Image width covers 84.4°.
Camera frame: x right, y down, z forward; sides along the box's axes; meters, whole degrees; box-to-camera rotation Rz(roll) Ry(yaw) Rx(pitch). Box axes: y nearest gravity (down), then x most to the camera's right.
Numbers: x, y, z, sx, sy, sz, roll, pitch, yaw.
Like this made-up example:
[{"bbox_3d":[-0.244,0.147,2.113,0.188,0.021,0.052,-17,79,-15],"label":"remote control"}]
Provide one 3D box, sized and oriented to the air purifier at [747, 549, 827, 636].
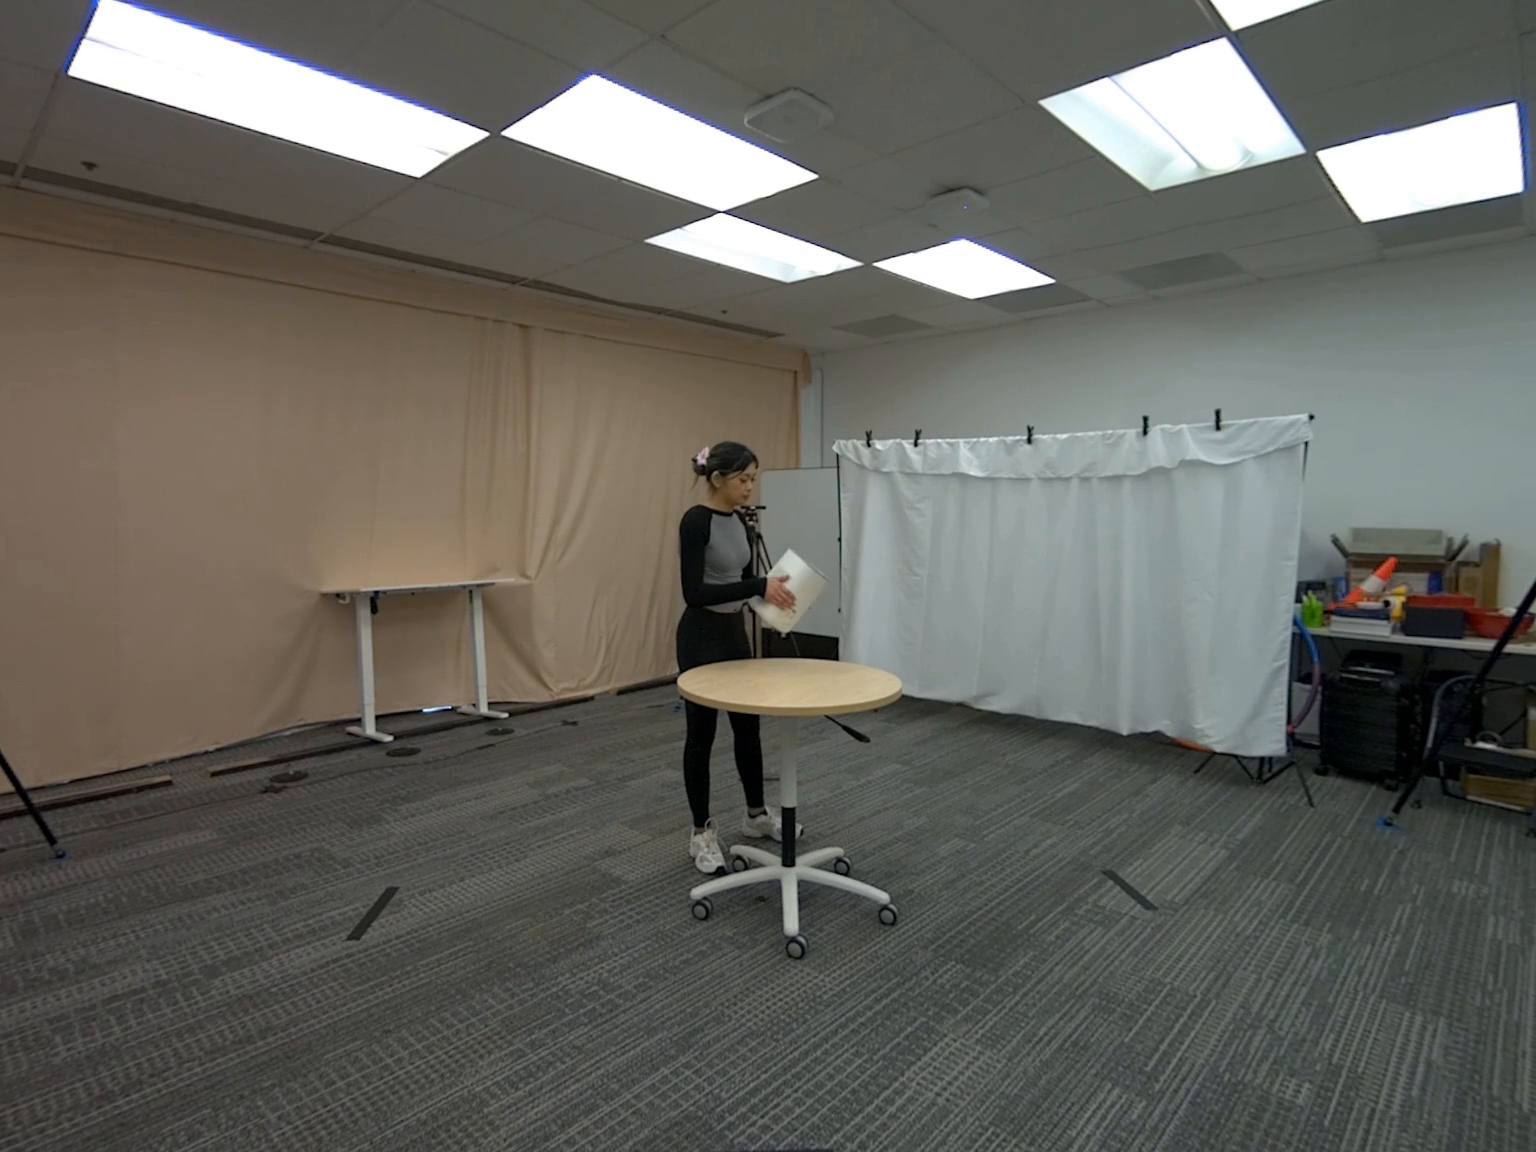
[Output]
[{"bbox_3d":[0.084,0.059,3.145,0.165,0.265,0.178,37,6,-43],"label":"air purifier"}]
